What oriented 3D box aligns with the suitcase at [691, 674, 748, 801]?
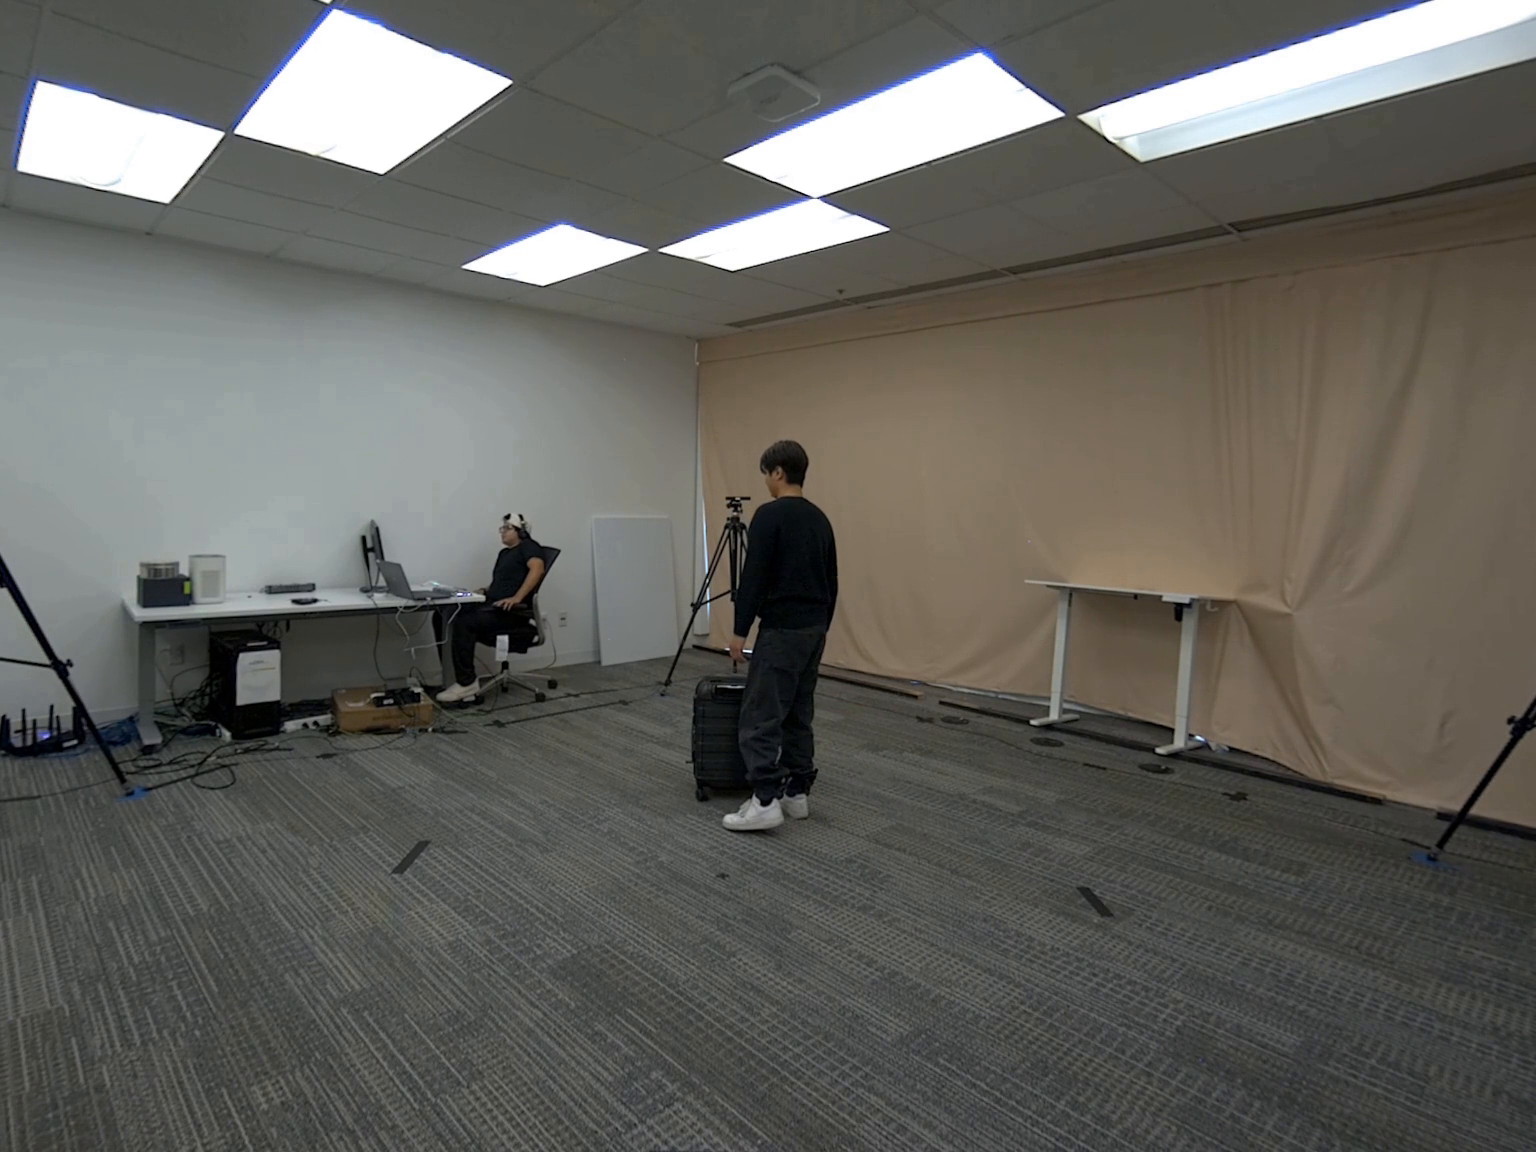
[{"bbox_3d":[-0.187,0.752,4.010,0.375,0.548,0.249,1,2,-3],"label":"suitcase"}]
